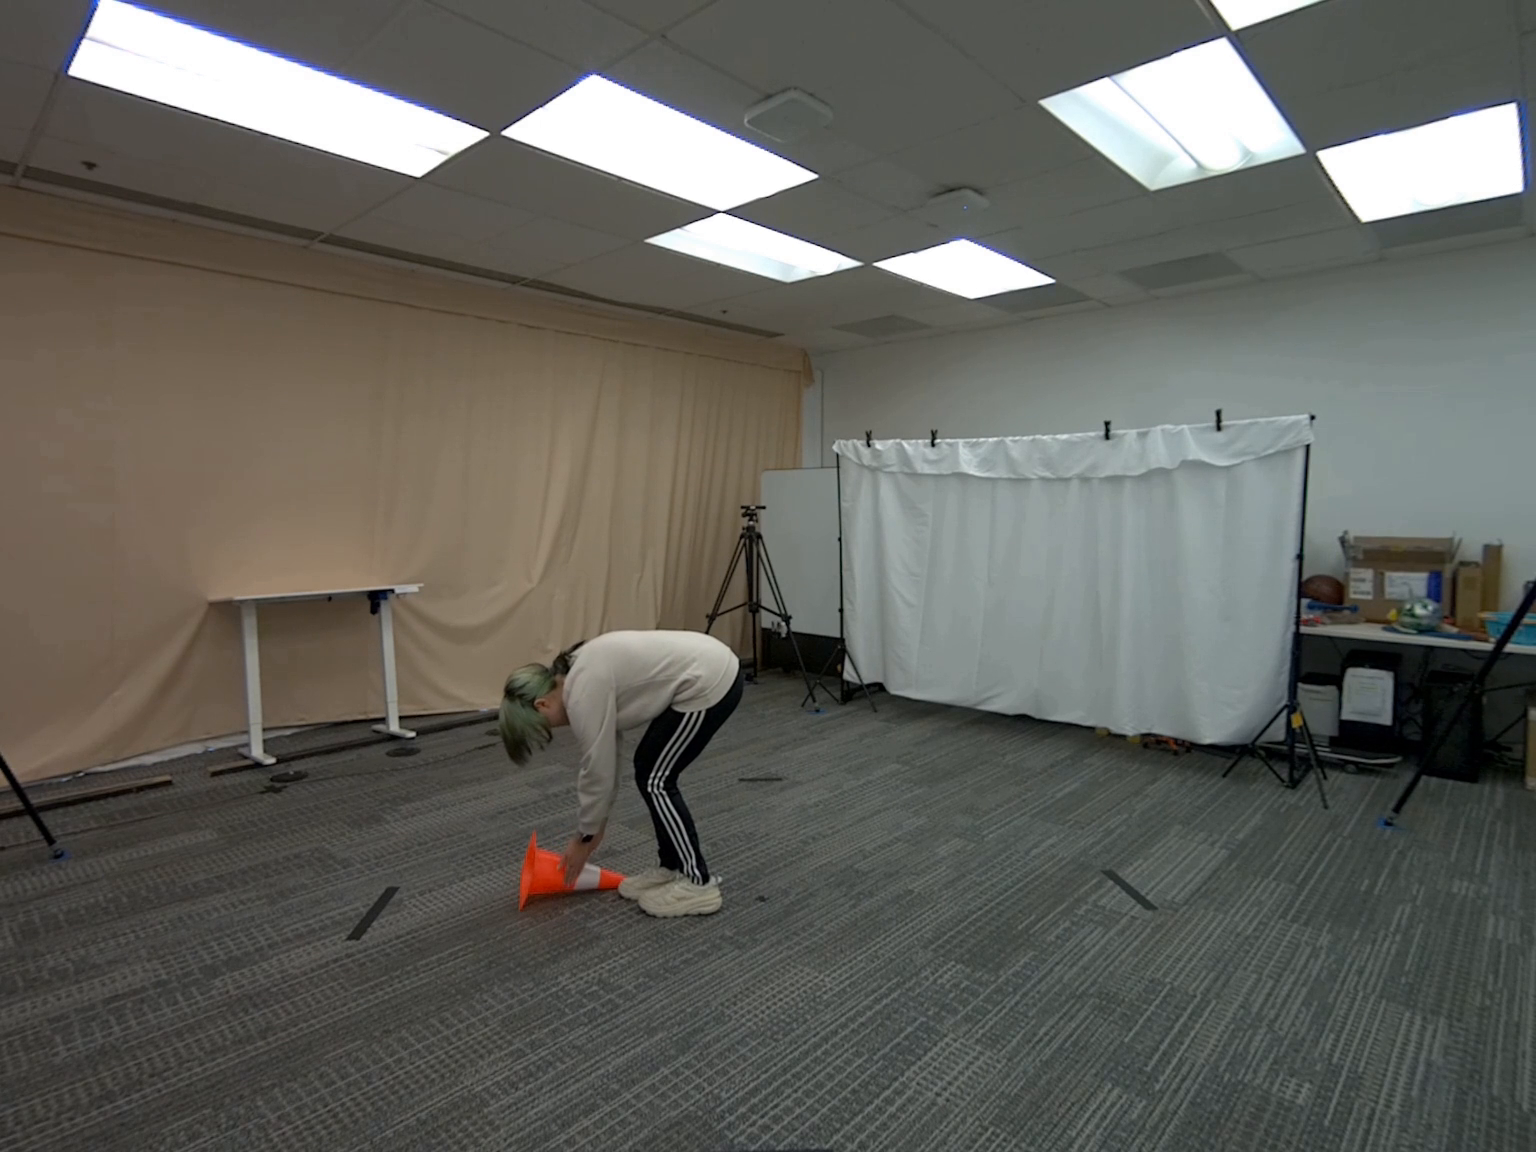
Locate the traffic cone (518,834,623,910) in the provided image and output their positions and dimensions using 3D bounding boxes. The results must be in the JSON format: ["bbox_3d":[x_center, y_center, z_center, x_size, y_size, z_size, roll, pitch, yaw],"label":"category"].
[{"bbox_3d":[-0.681,1.089,3.024,0.376,0.204,0.208,16,12,-18],"label":"traffic cone"}]
